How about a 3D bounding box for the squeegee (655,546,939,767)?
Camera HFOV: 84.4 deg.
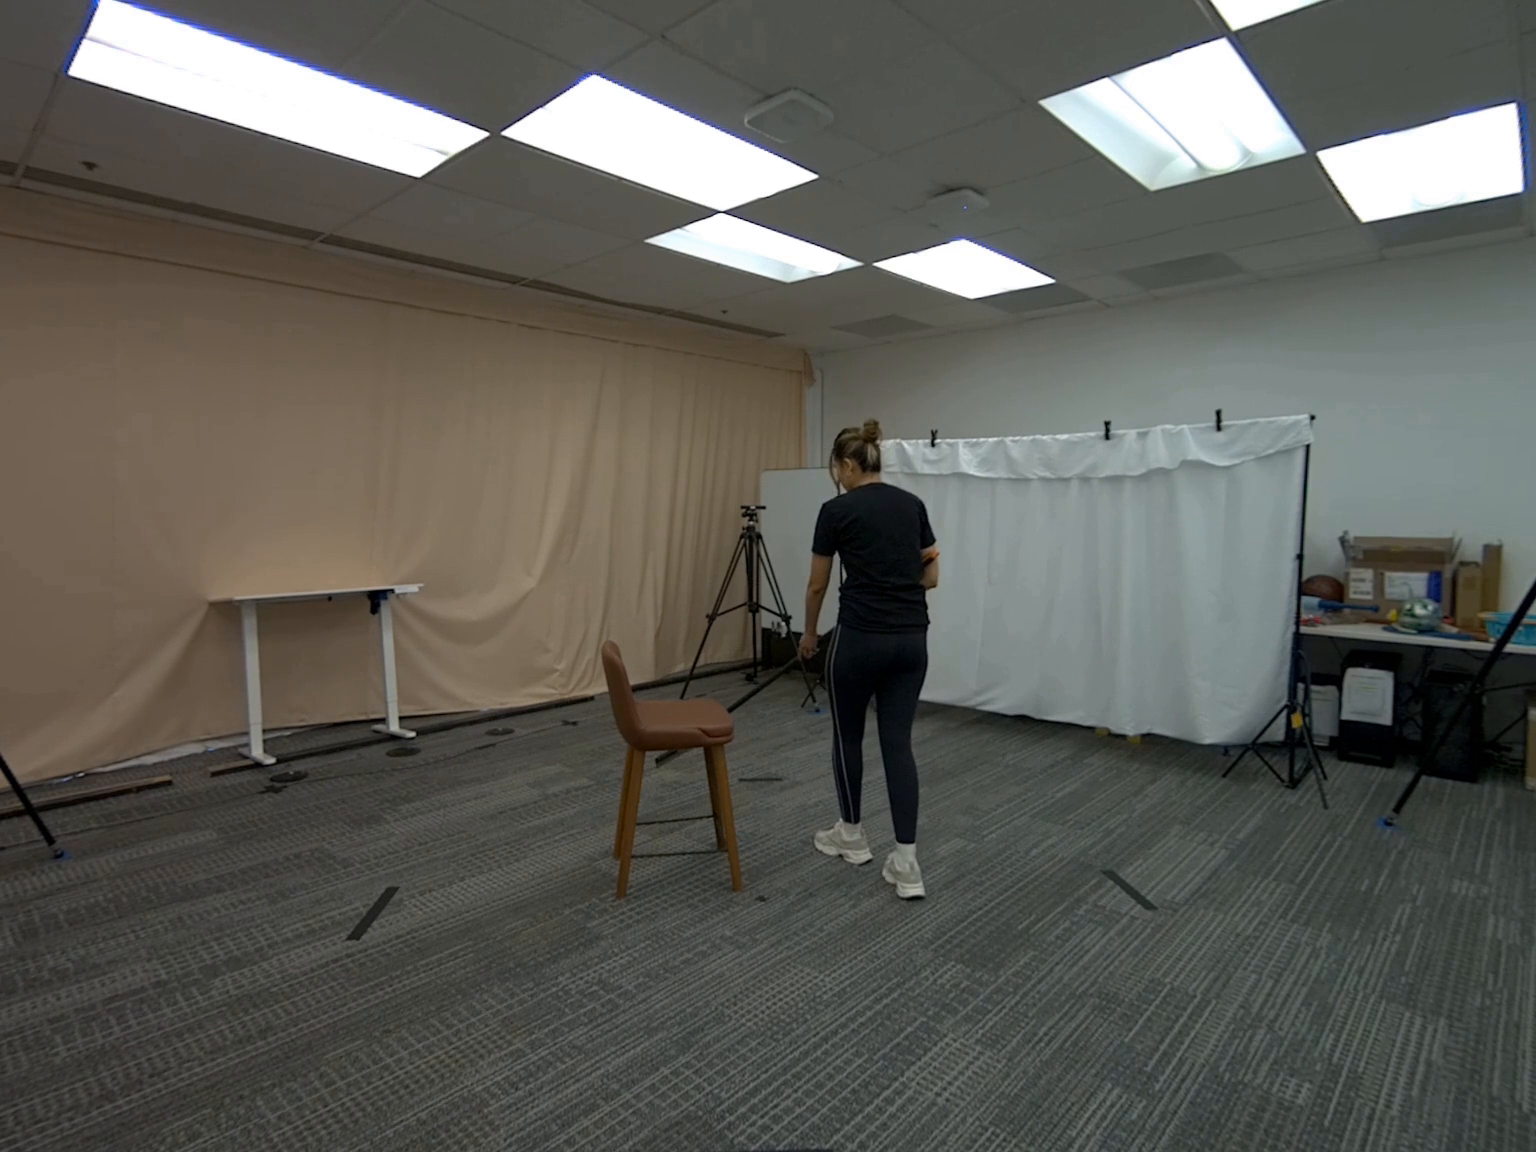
[{"bbox_3d":[0.114,0.364,3.537,1.553,0.054,0.426,-39,-13,28],"label":"squeegee"}]
